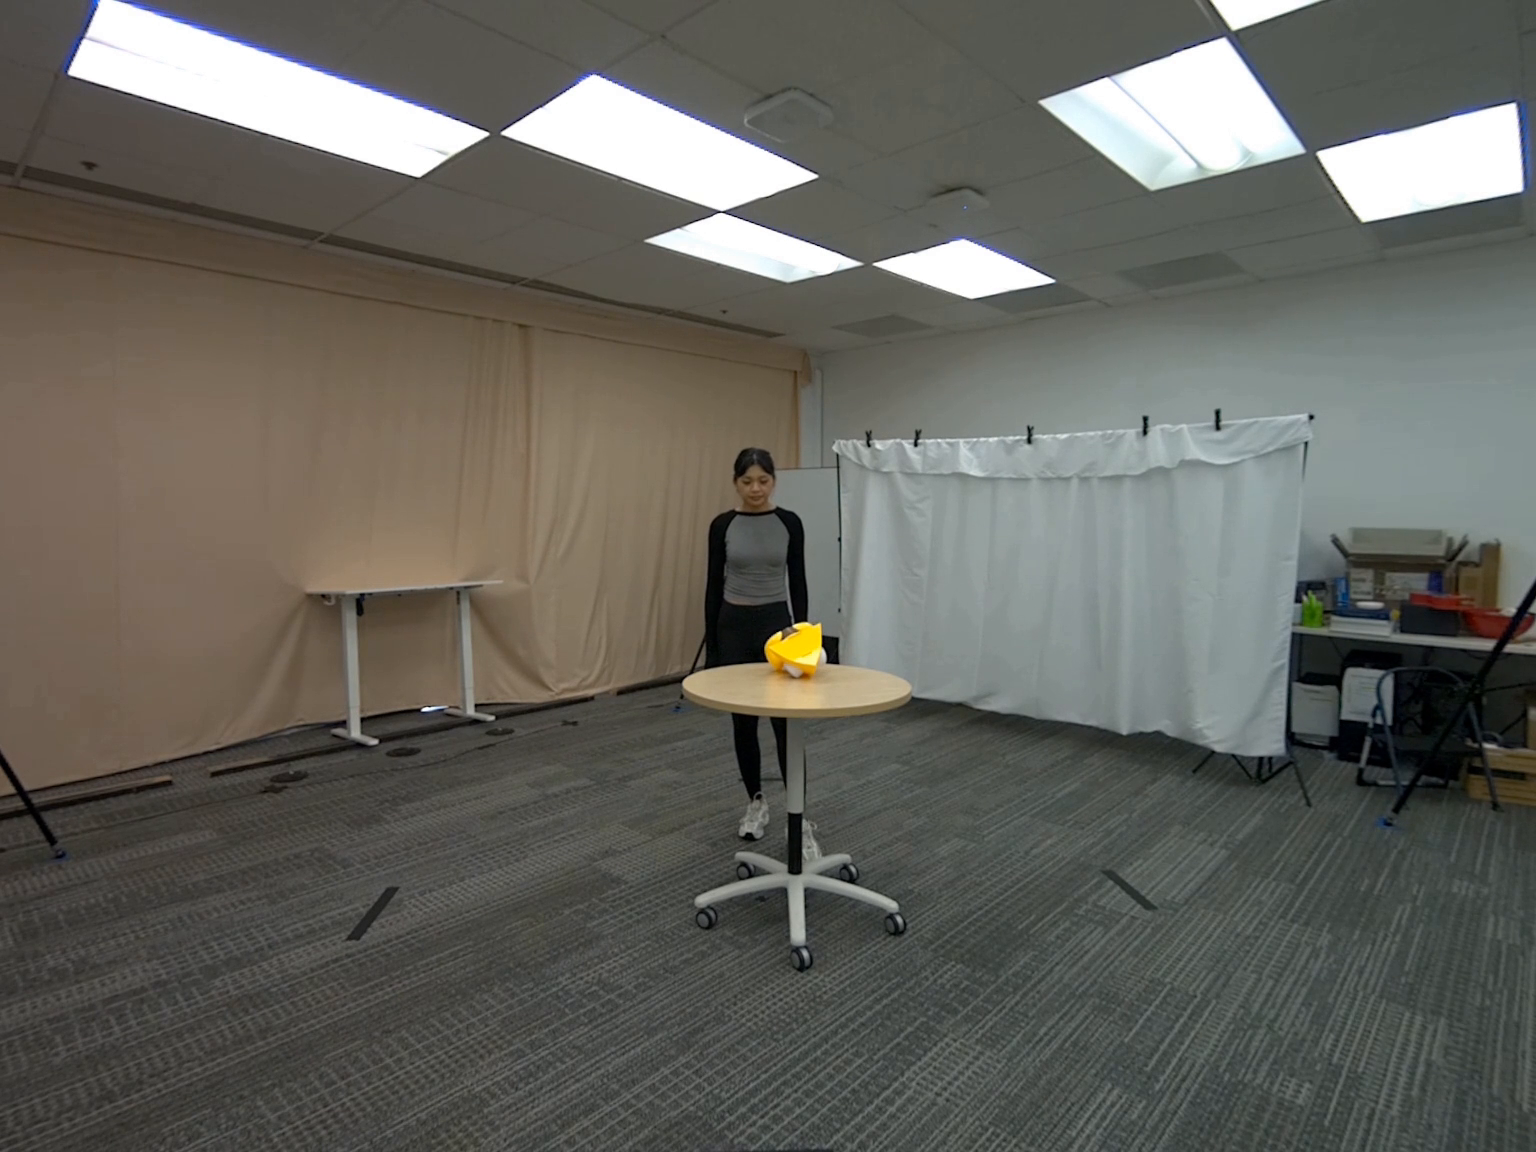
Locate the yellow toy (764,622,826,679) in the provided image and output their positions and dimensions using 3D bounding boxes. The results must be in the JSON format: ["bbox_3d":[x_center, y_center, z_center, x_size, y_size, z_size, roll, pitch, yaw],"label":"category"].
[{"bbox_3d":[0.119,0.296,2.953,0.203,0.188,0.238,-25,33,-11],"label":"yellow toy"}]
